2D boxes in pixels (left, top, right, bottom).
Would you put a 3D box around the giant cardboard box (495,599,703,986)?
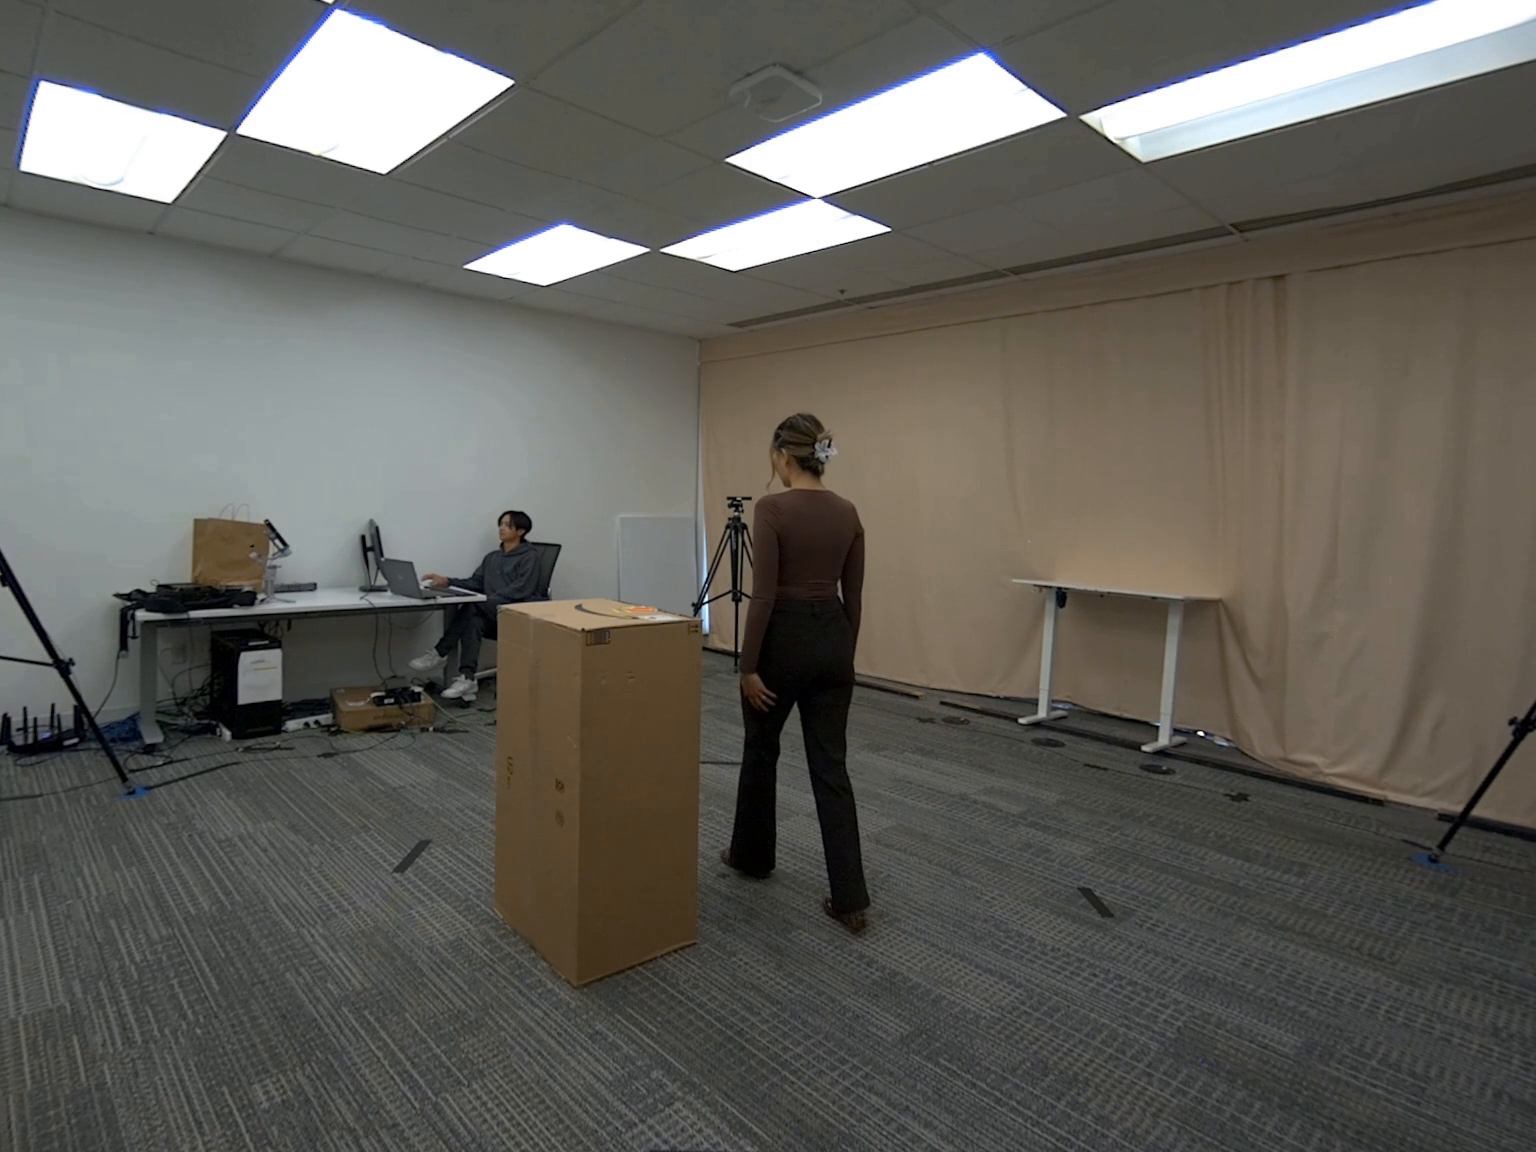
[{"bbox_3d":[-0.561,0.625,2.692,0.436,1.025,0.598,0,3,-39],"label":"giant cardboard box"}]
